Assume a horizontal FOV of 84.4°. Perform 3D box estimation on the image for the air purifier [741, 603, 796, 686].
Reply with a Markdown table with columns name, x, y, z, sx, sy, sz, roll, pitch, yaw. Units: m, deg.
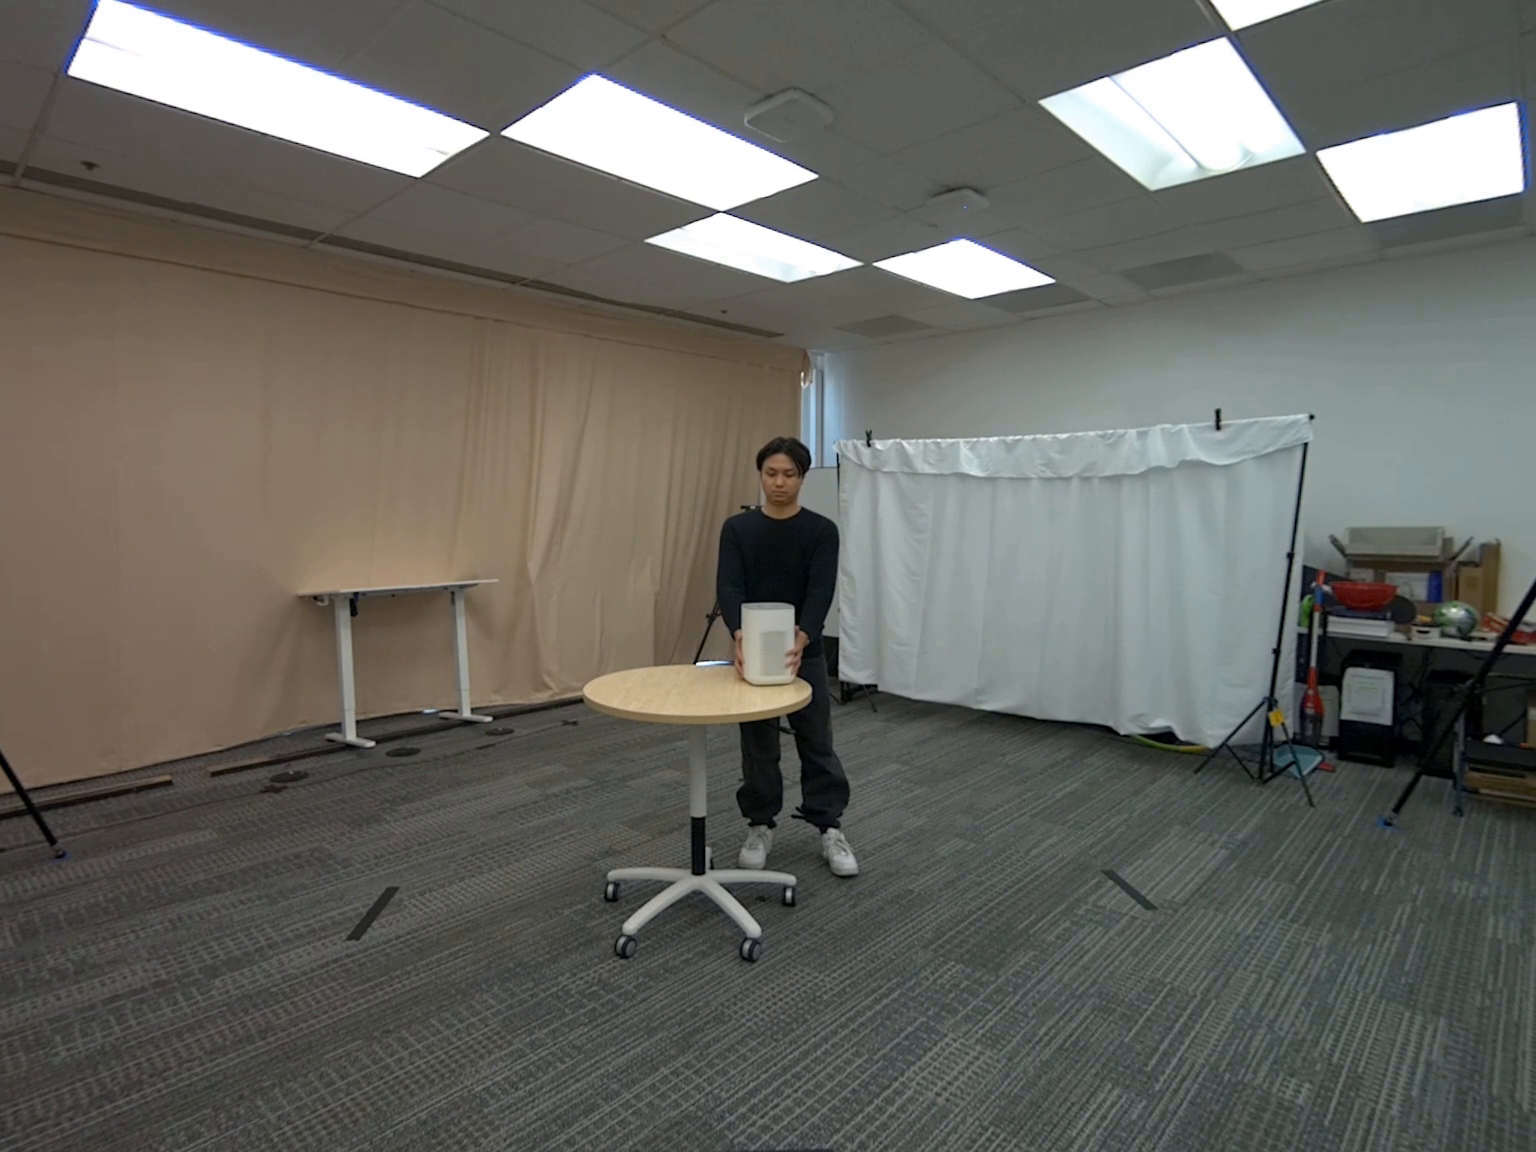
| name | x | y | z | sx | sy | sz | roll | pitch | yaw |
| --- | --- | --- | --- | --- | --- | --- | --- | --- | --- |
| air purifier | -0.001 | 0.231 | 2.917 | 0.170 | 0.265 | 0.173 | -1 | 3 | -8 |
